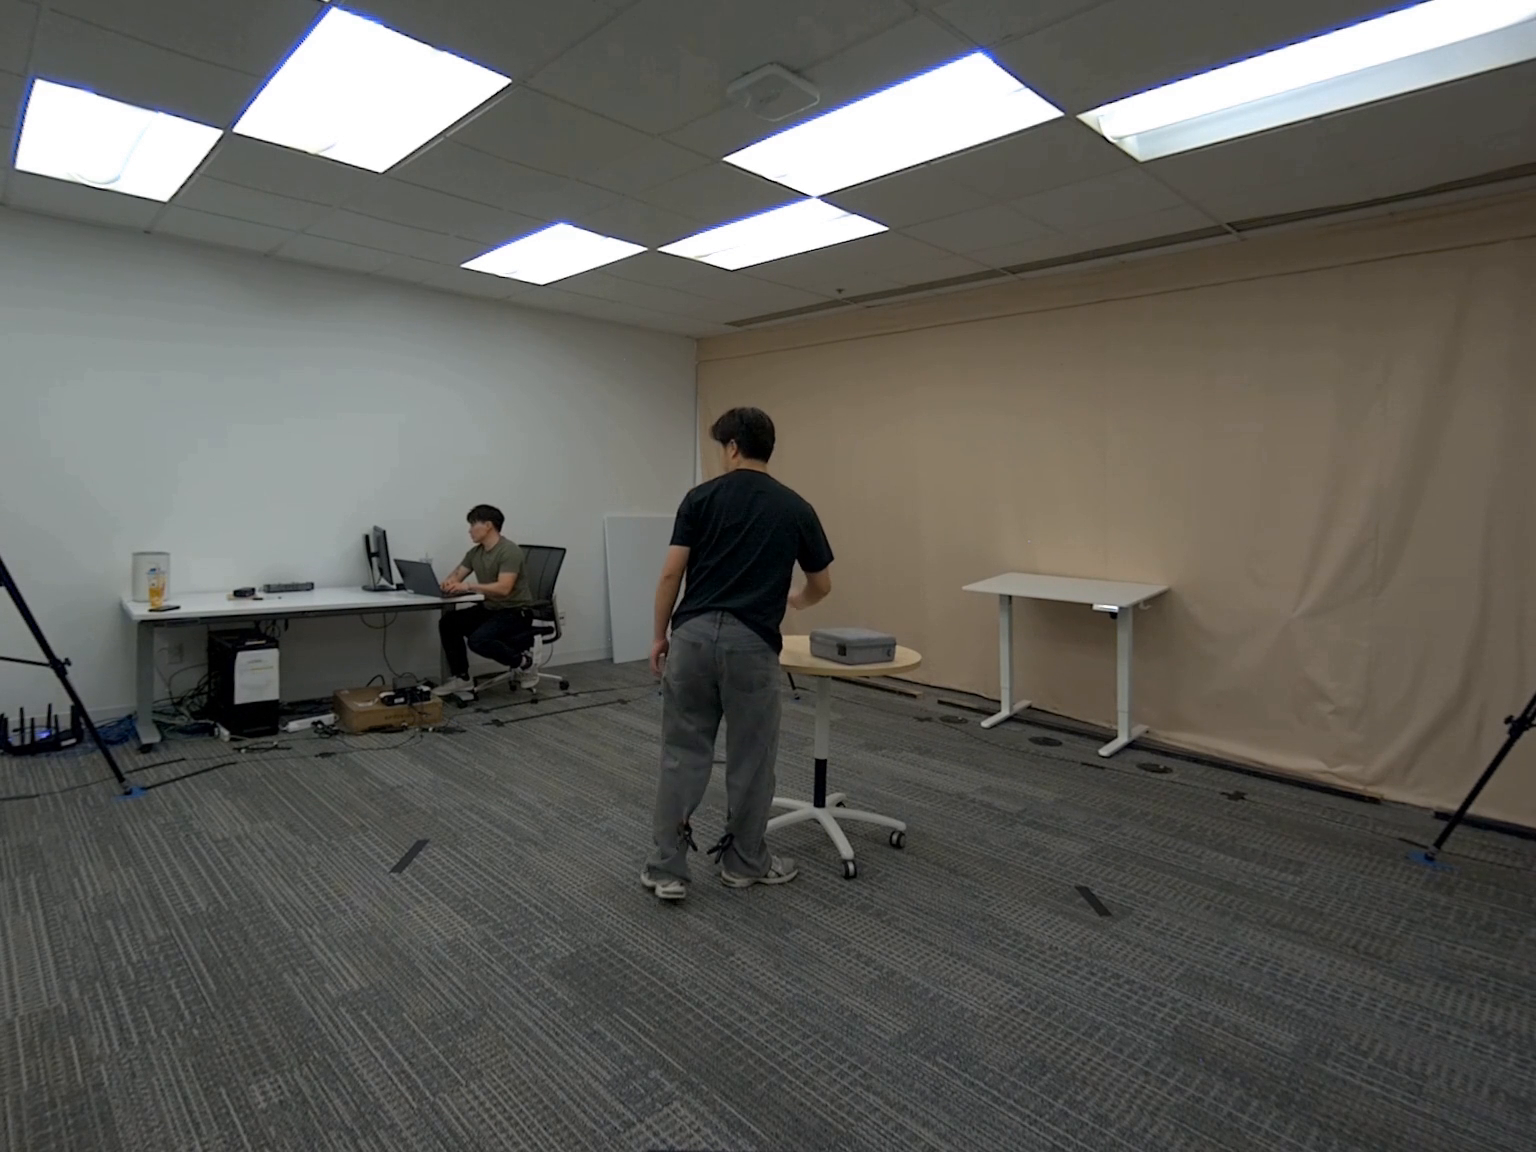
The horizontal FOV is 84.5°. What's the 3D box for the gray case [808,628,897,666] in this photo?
[{"bbox_3d":[0.334,0.268,3.262,0.281,0.103,0.269,0,4,-34],"label":"gray case"}]
